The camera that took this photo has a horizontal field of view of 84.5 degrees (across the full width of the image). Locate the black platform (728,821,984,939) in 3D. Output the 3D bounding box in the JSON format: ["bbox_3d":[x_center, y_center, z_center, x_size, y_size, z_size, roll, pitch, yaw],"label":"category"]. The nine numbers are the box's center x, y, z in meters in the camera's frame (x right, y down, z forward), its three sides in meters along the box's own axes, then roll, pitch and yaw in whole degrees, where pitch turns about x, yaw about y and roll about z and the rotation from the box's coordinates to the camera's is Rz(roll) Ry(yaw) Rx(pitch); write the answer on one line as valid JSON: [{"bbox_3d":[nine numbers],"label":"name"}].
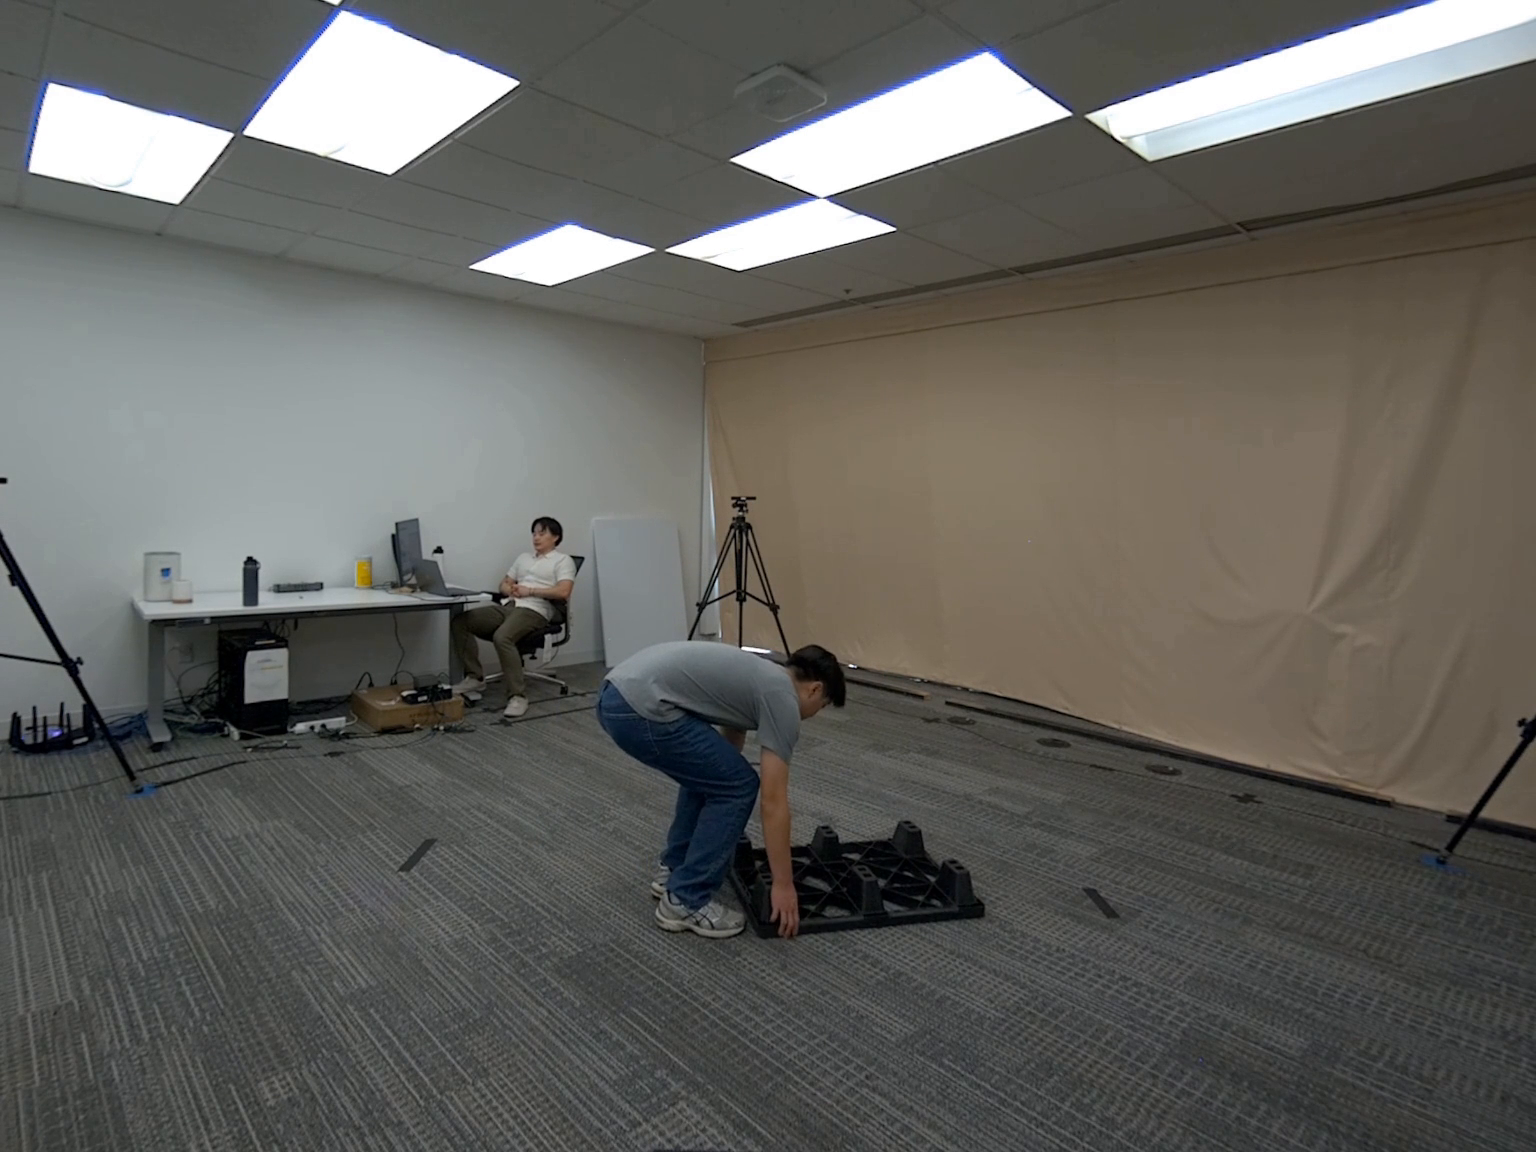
[{"bbox_3d":[0.273,1.048,3.039,0.796,0.143,0.614,1,6,-15],"label":"black platform"}]
